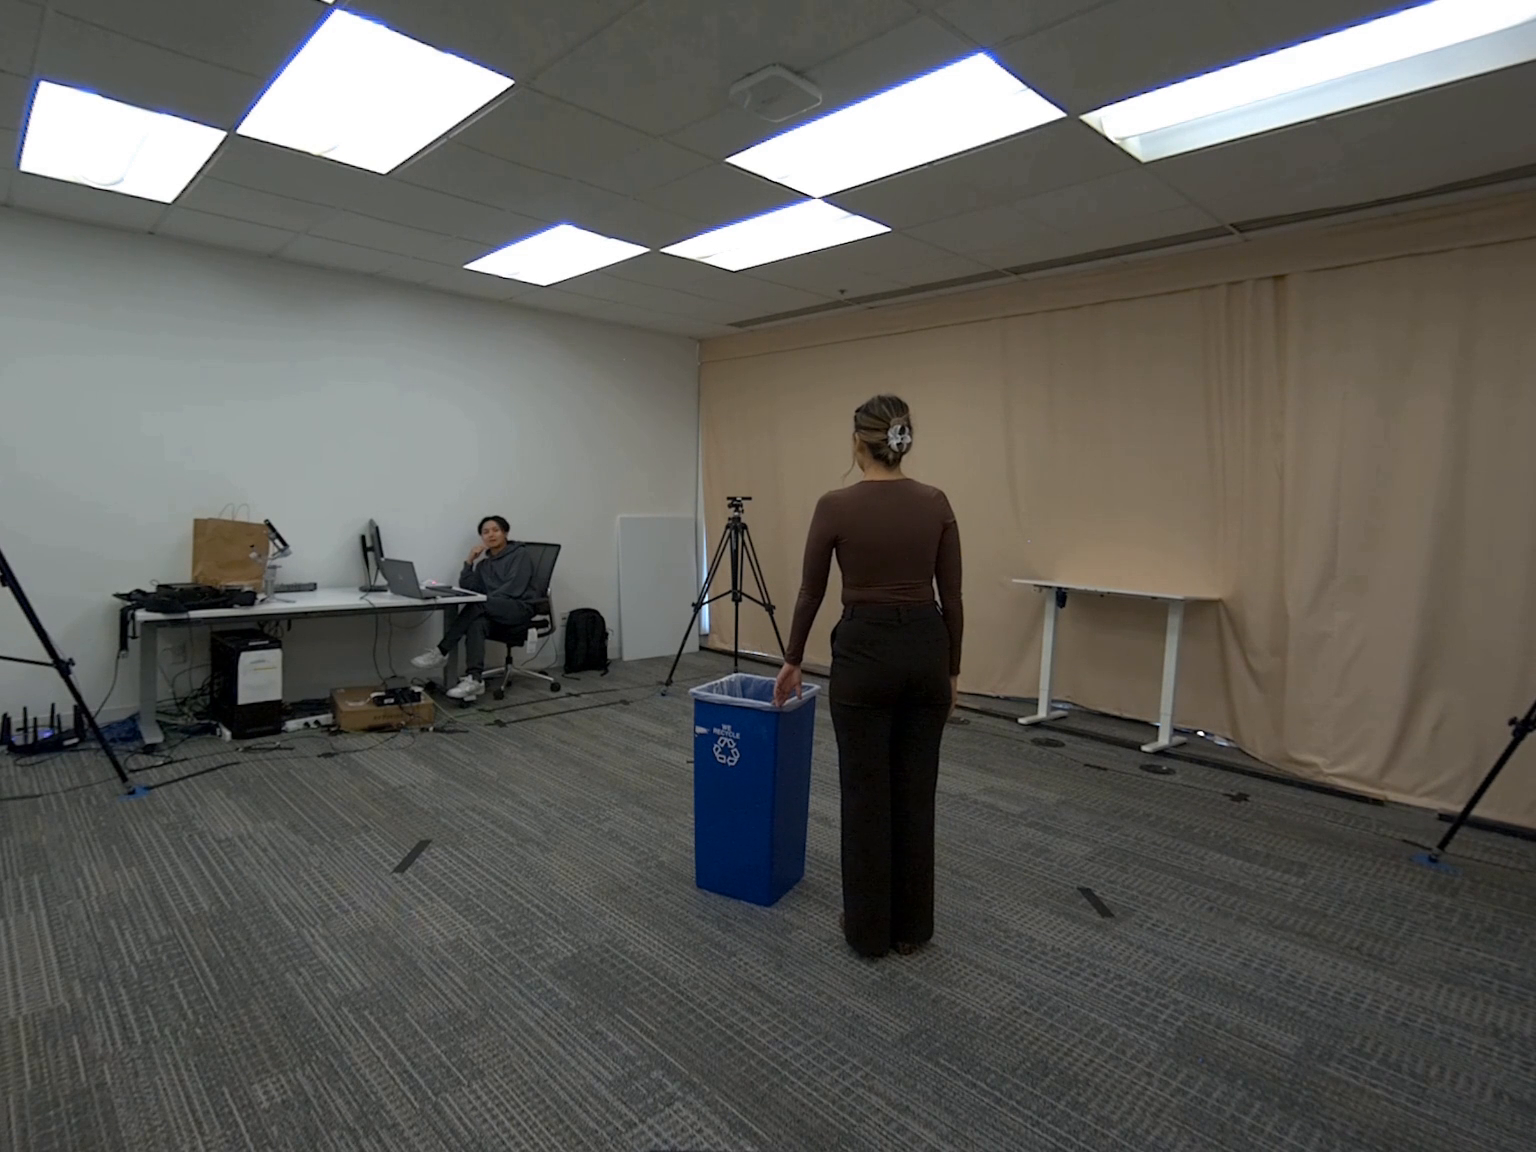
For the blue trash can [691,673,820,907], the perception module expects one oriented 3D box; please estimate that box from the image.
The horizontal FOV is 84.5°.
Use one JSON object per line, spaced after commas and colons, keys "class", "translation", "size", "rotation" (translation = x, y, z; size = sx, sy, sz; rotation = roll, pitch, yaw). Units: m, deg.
{"class": "blue trash can", "translation": [-0.054, 0.754, 3.044], "size": [0.382, 0.712, 0.371], "rotation": [3, 4, 28]}
